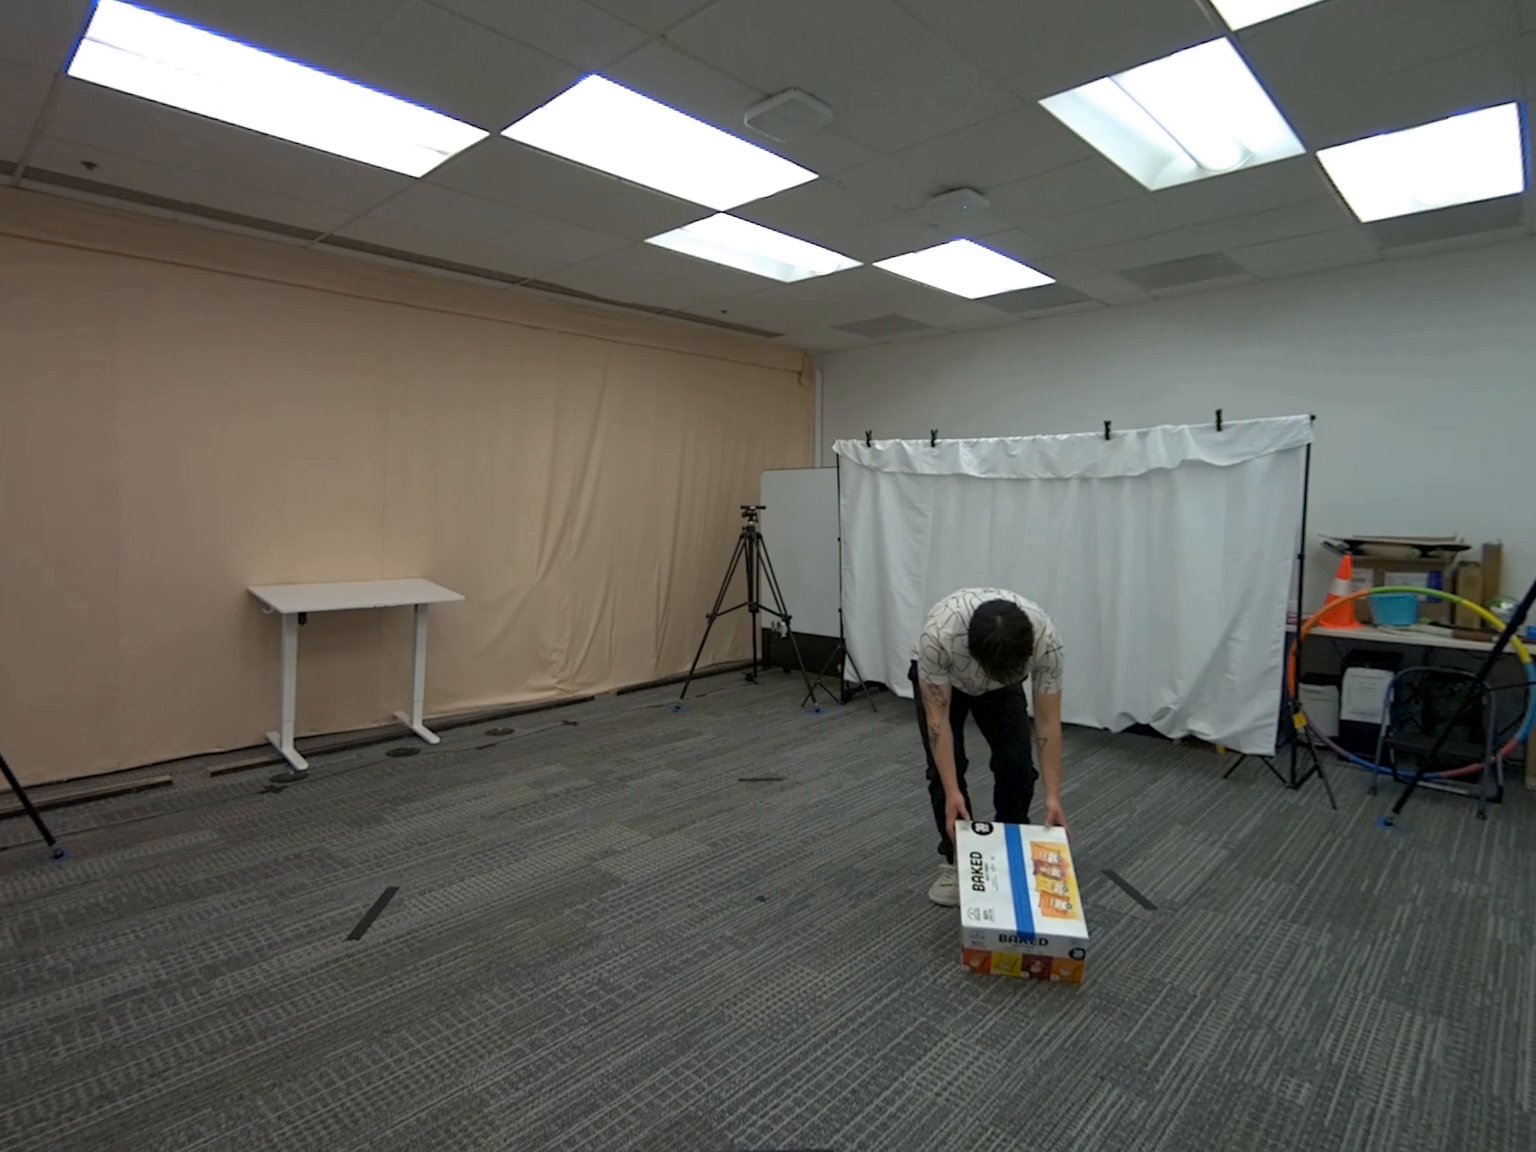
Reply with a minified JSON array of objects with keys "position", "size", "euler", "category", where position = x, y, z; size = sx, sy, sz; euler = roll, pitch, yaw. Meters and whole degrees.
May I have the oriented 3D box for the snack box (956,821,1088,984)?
[{"position":[0.766,0.992,2.601],"size":[0.345,0.202,0.408],"euler":[0,31,11],"category":"snack box"}]
